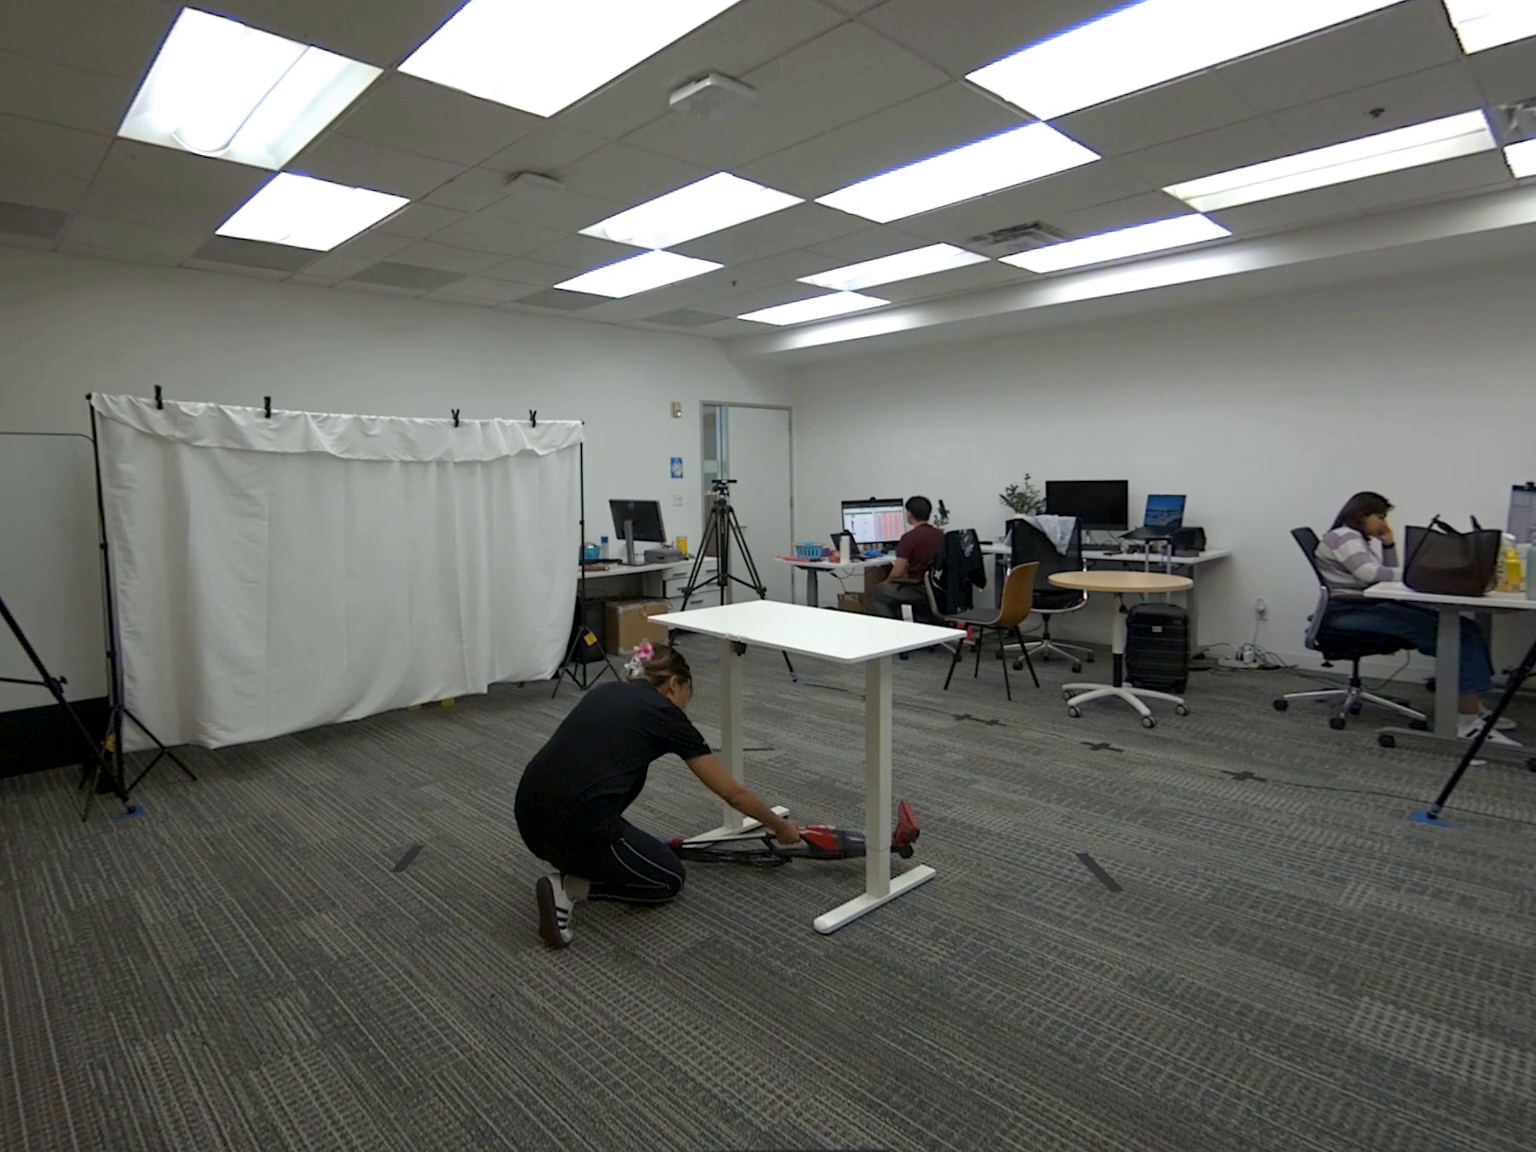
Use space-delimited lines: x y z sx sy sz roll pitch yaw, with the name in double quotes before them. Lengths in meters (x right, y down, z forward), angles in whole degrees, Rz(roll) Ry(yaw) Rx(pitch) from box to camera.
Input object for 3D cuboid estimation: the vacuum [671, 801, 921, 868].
"vacuum" -0.010 0.962 3.068 1.051 0.143 0.253 -6 7 2
